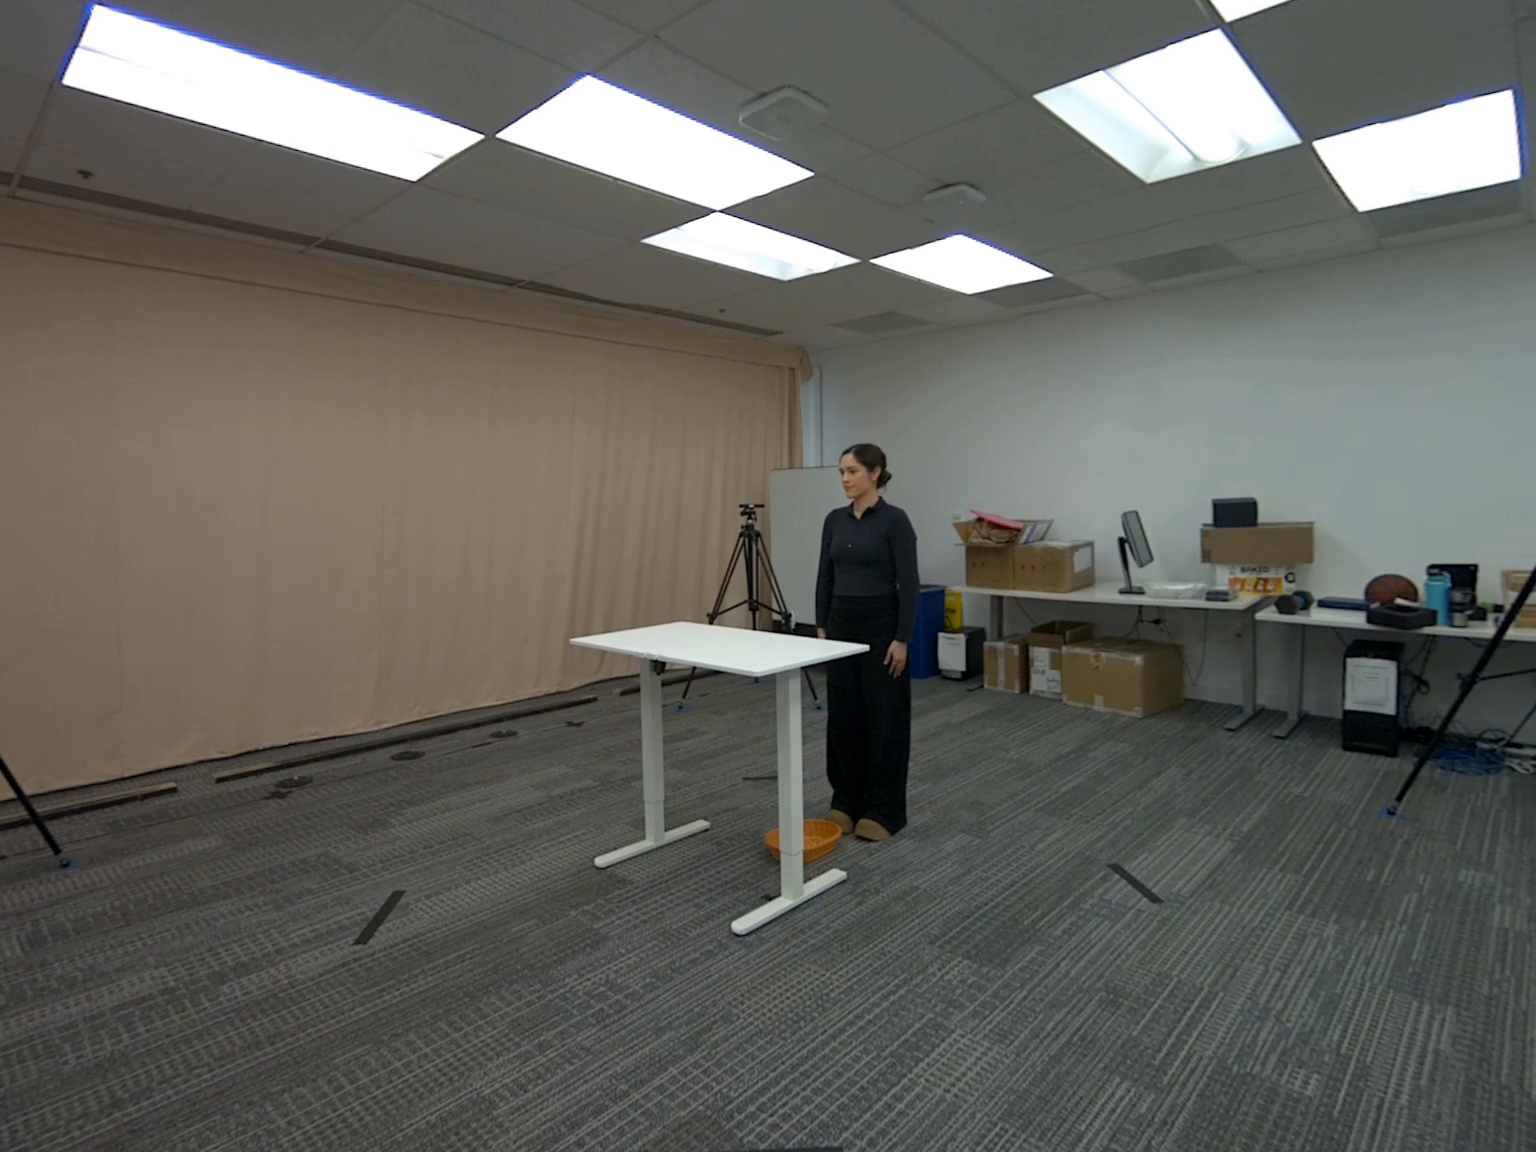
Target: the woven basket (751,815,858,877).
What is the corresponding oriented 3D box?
[{"bbox_3d":[0.145,1.065,3.367,0.340,0.073,0.261,-6,7,-44],"label":"woven basket"}]
